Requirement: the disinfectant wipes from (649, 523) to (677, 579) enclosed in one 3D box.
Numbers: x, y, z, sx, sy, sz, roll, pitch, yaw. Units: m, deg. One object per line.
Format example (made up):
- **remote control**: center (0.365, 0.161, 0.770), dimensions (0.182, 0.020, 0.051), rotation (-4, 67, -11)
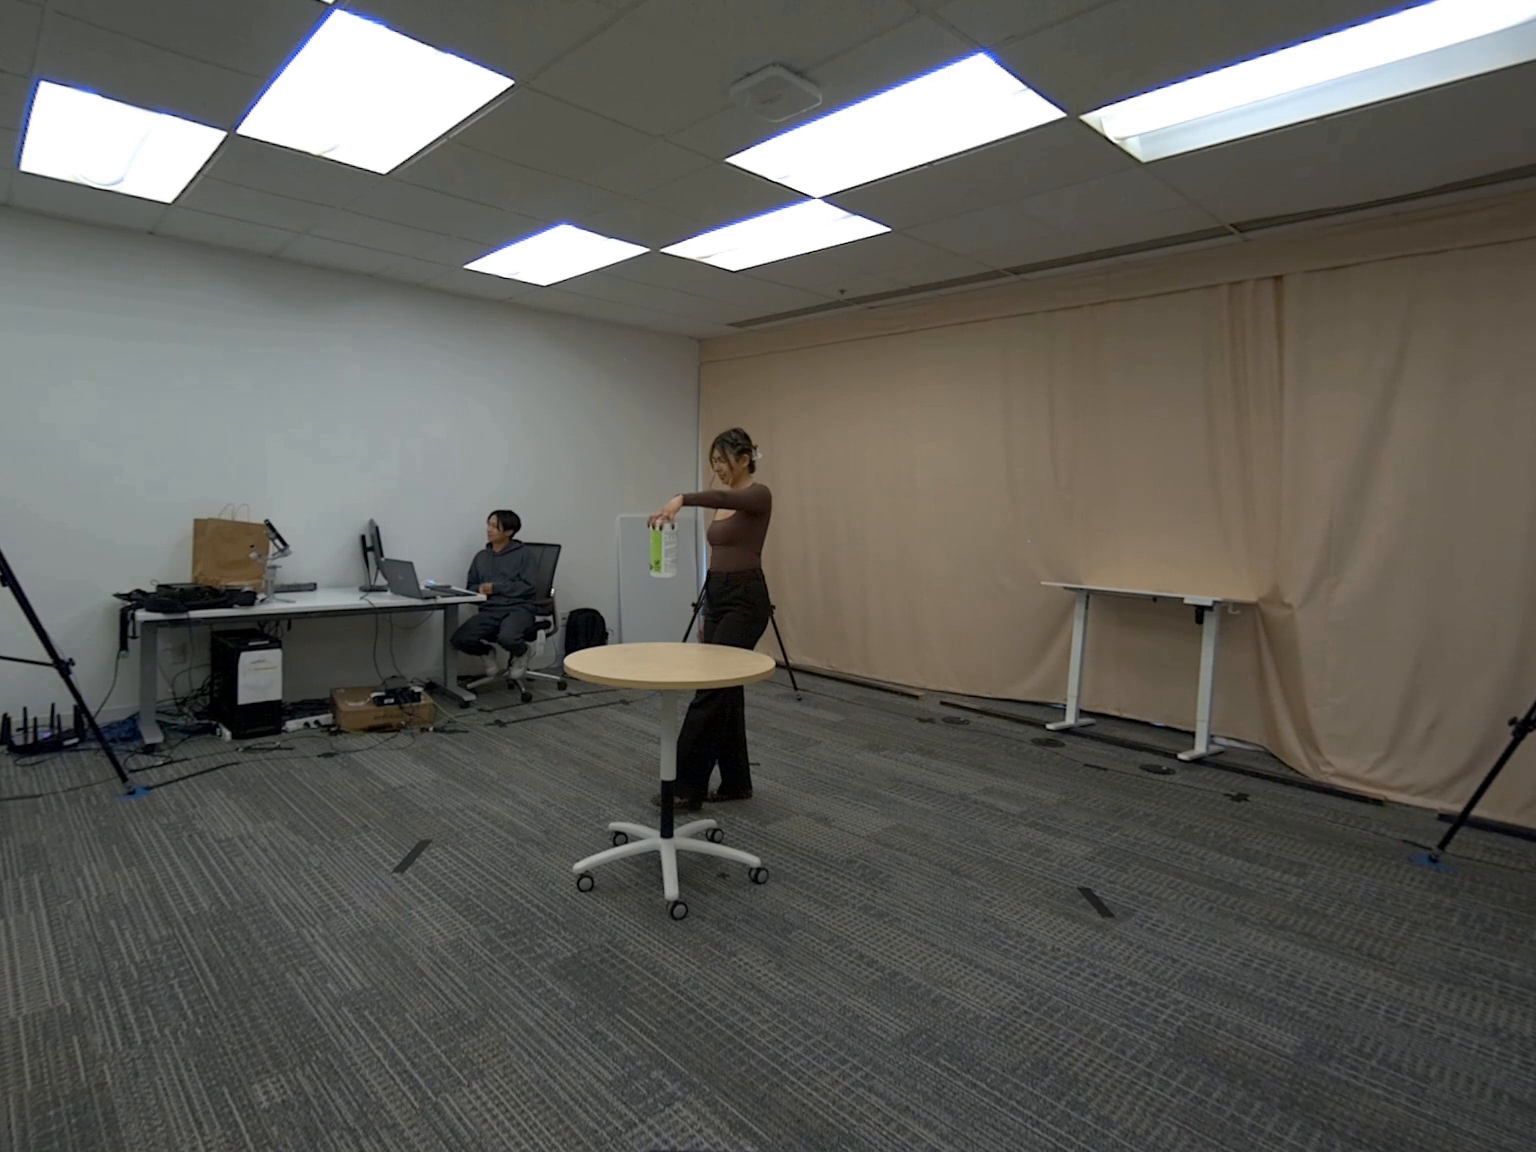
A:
- **disinfectant wipes**: center (-0.419, -0.107, 3.295), dimensions (0.118, 0.216, 0.118), rotation (1, 8, -2)
